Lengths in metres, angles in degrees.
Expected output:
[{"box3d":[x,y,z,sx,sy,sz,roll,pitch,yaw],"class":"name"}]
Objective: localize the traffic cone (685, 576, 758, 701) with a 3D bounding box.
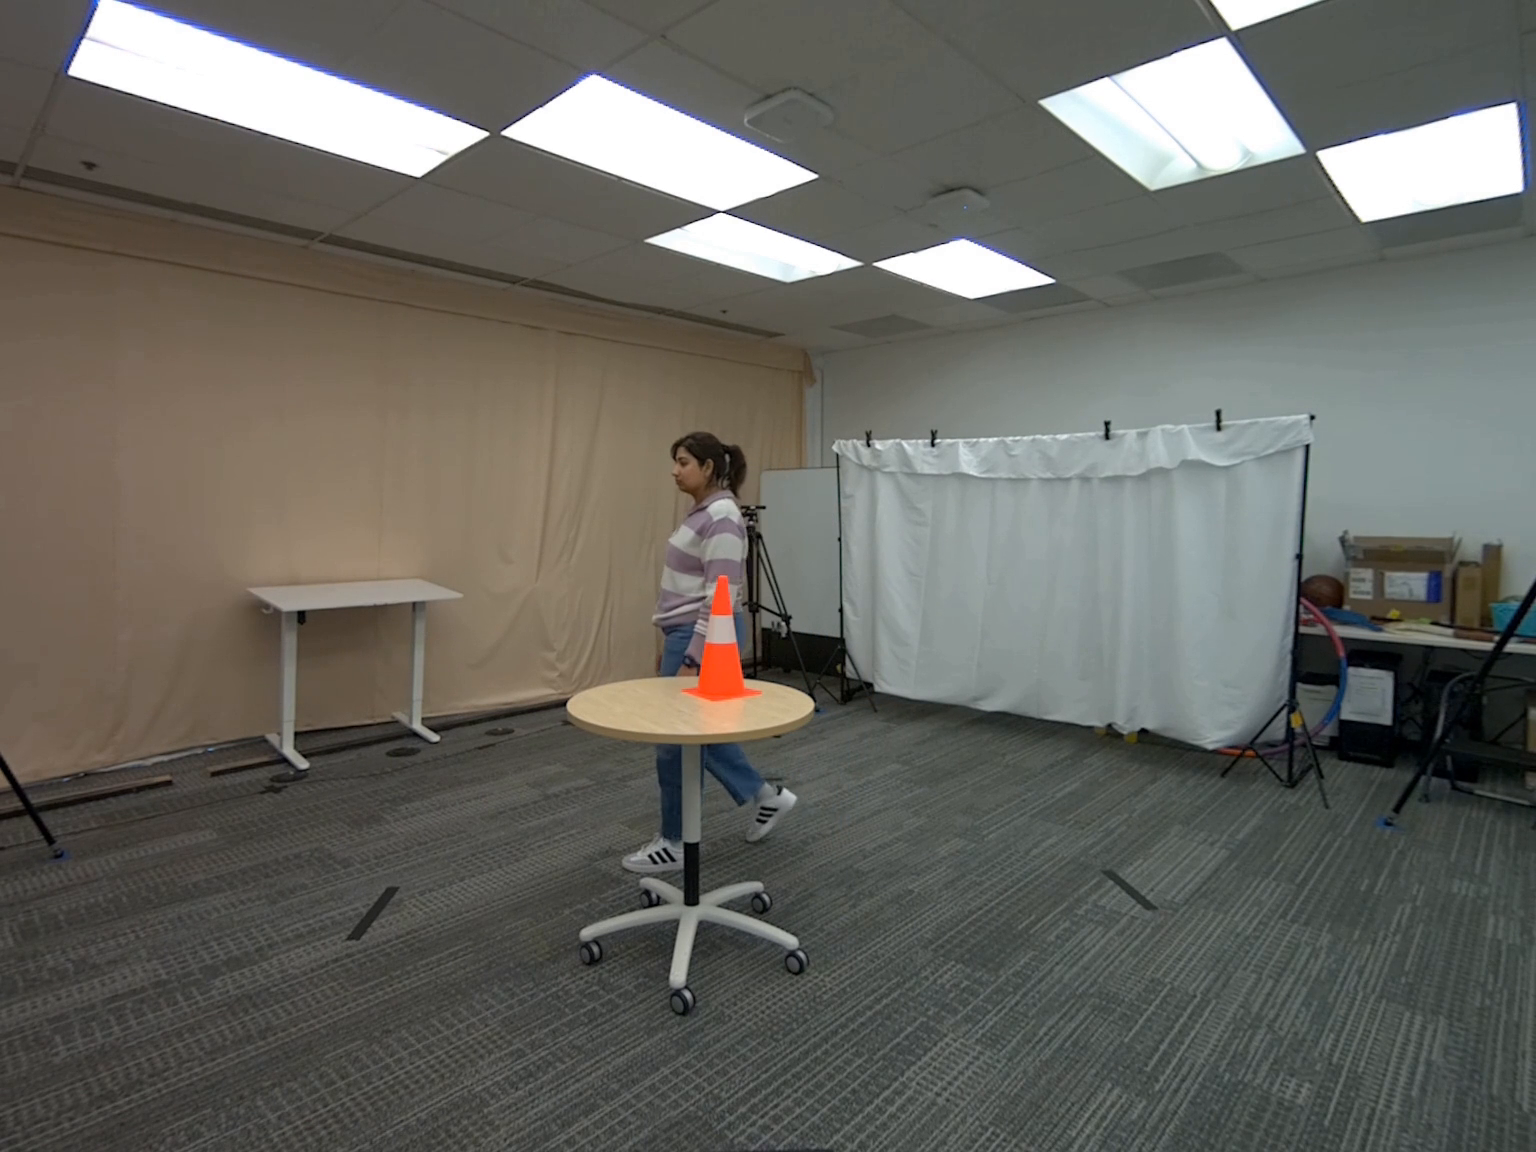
[{"box3d":[-0.151,0.193,2.752,0.212,0.383,0.197,3,3,43],"class":"traffic cone"}]
